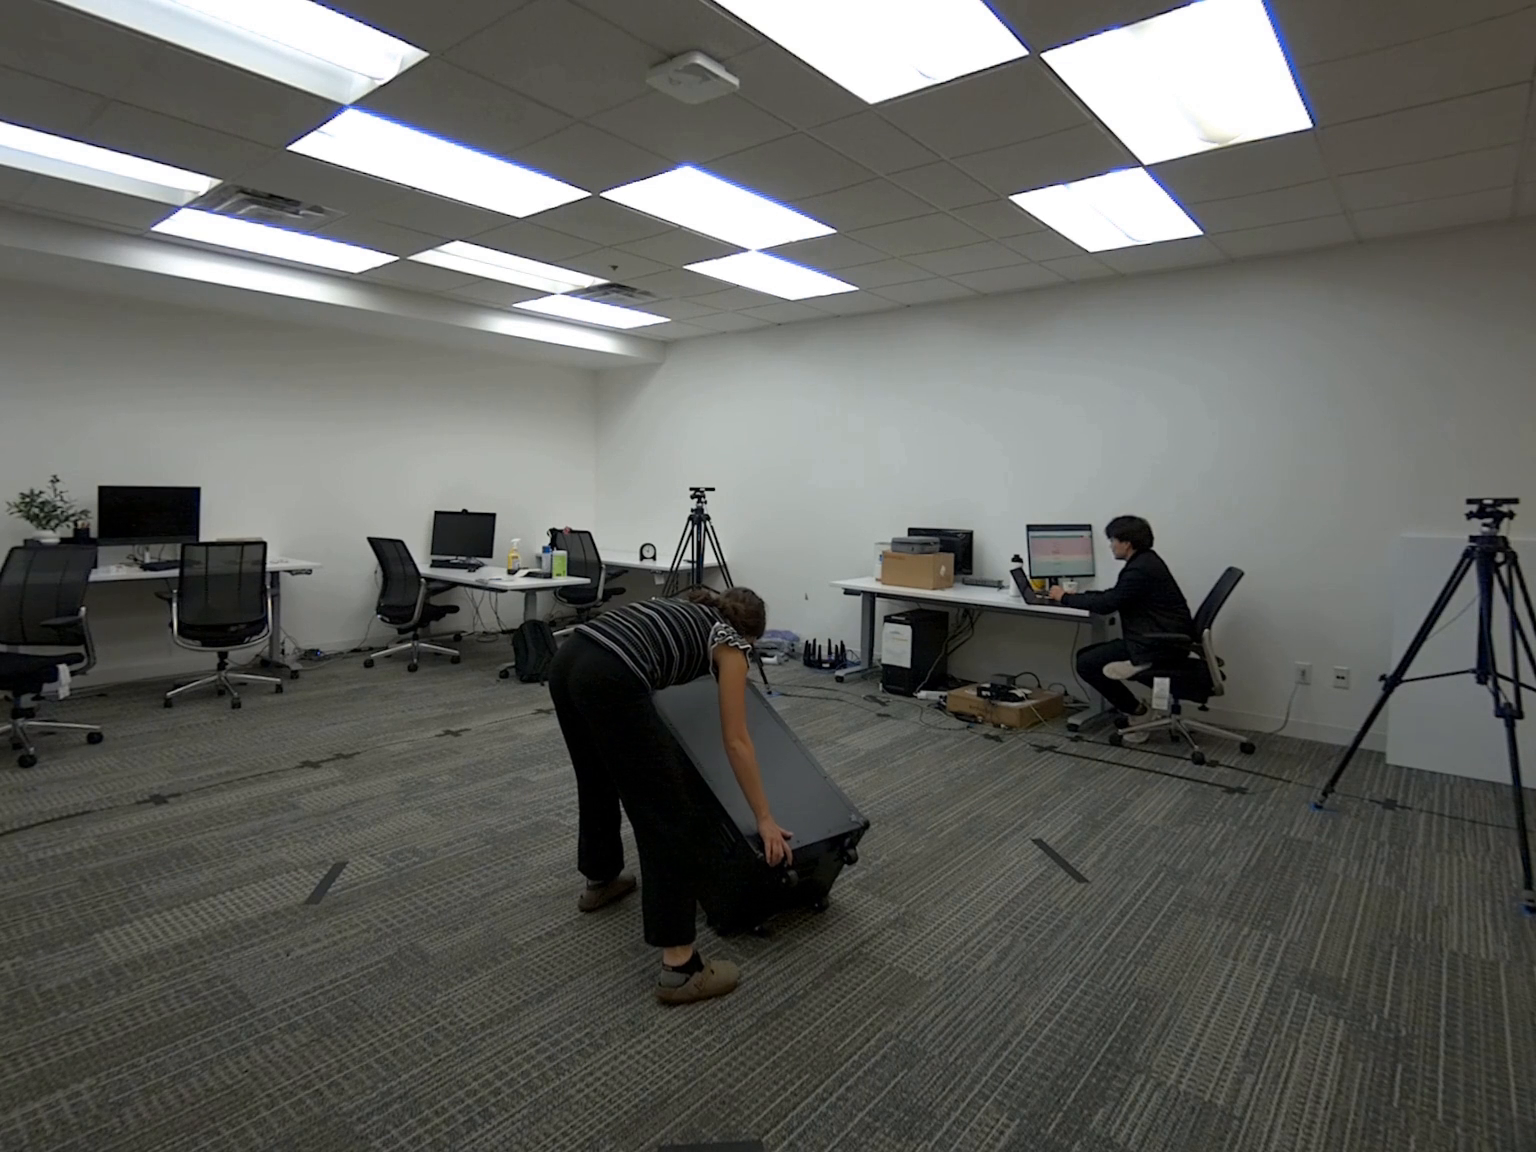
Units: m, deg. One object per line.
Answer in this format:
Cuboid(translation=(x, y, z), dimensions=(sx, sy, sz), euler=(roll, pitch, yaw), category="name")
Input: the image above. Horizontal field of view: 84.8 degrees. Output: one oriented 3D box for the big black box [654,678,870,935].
Cuboid(translation=(-0.121, 0.763, 2.942), dimensions=(0.506, 0.391, 0.899), euler=(-2, 34, -39), category="big black box")
